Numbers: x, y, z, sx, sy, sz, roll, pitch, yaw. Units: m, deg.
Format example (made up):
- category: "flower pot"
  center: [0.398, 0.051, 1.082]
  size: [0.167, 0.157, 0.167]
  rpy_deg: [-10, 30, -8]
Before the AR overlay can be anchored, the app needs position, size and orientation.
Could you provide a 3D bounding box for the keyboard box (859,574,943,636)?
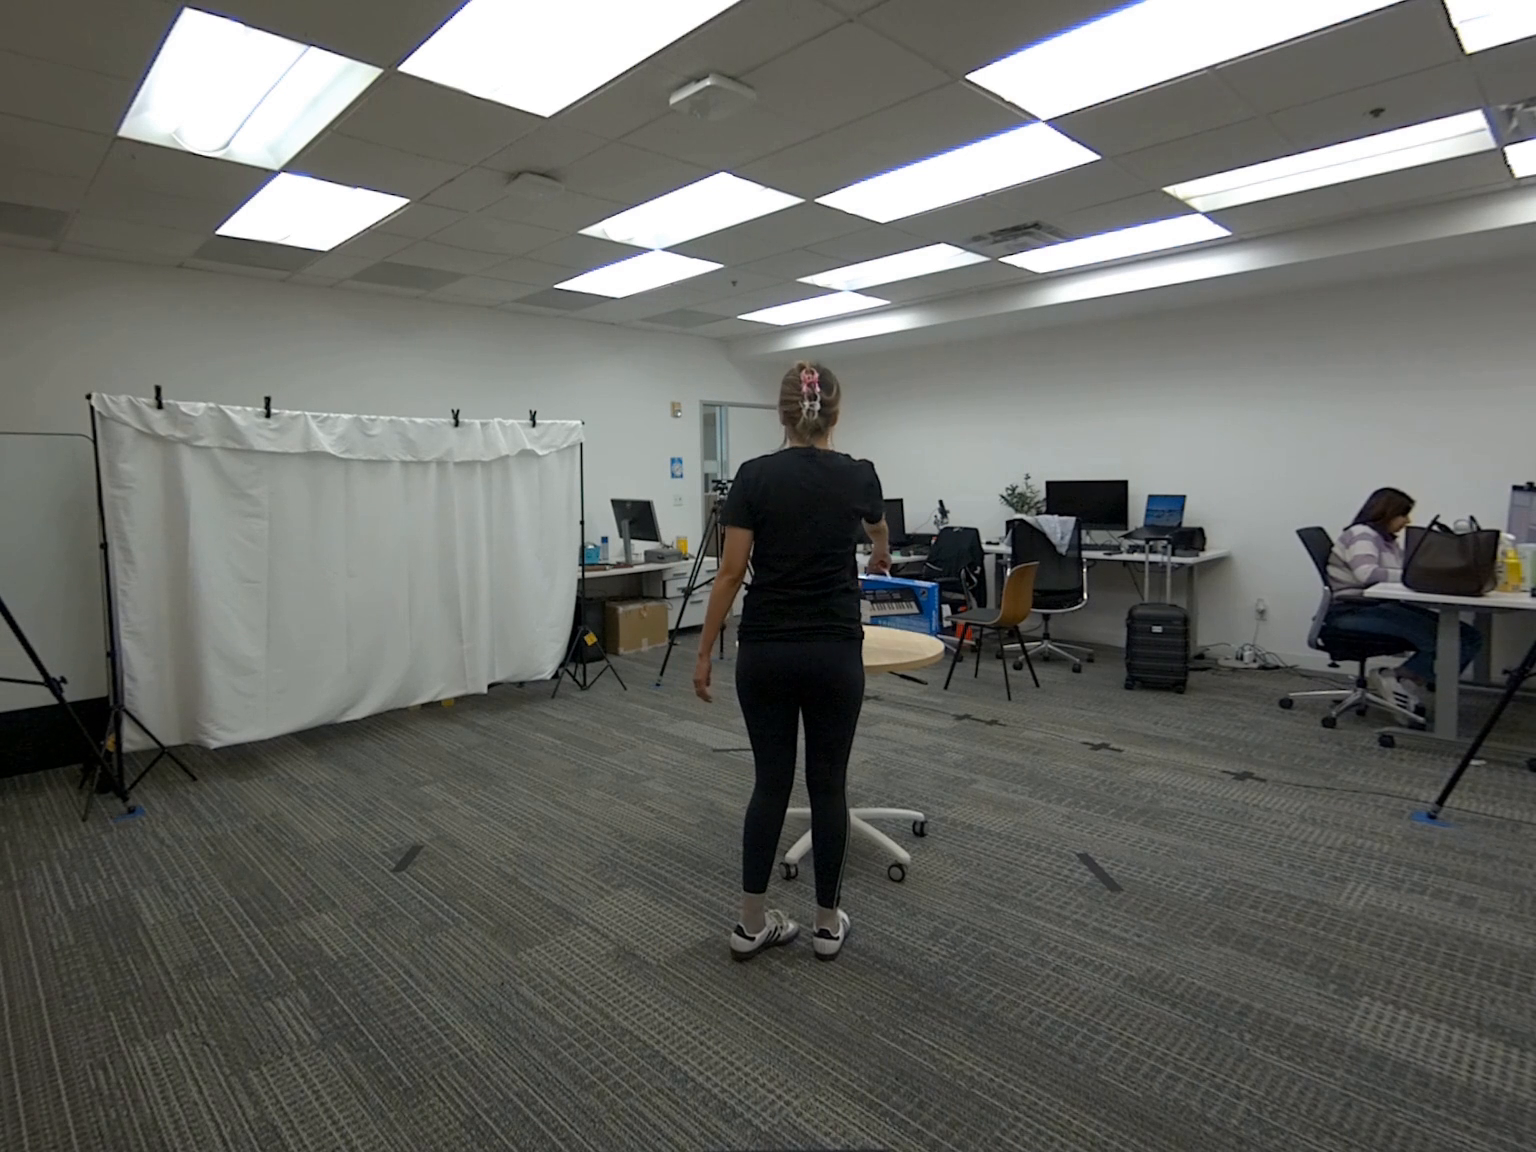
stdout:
- category: "keyboard box"
  center: [0.397, 0.093, 3.068]
  size: [0.450, 0.174, 0.058]
  rpy_deg: [8, 14, 38]
